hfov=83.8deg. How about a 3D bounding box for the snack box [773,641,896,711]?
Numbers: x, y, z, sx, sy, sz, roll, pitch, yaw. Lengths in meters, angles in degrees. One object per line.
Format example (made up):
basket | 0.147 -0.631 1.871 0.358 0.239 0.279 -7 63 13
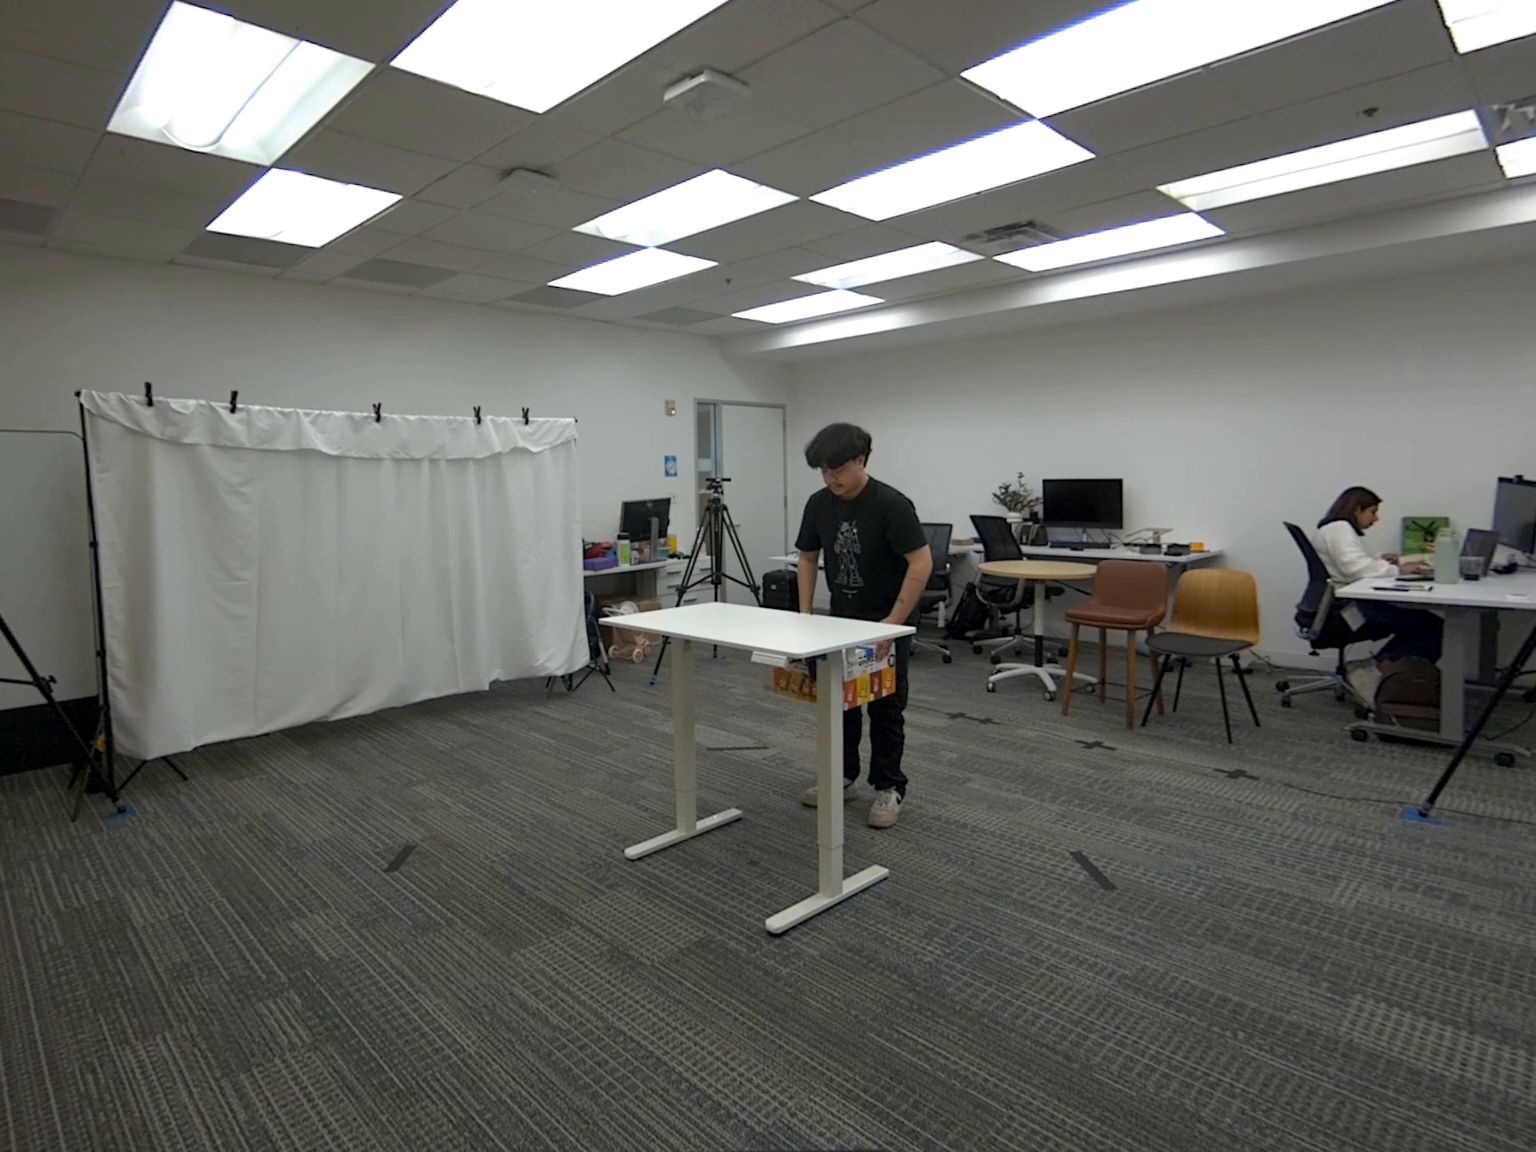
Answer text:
snack box | 0.241 0.361 3.403 0.418 0.204 0.332 6 10 43
